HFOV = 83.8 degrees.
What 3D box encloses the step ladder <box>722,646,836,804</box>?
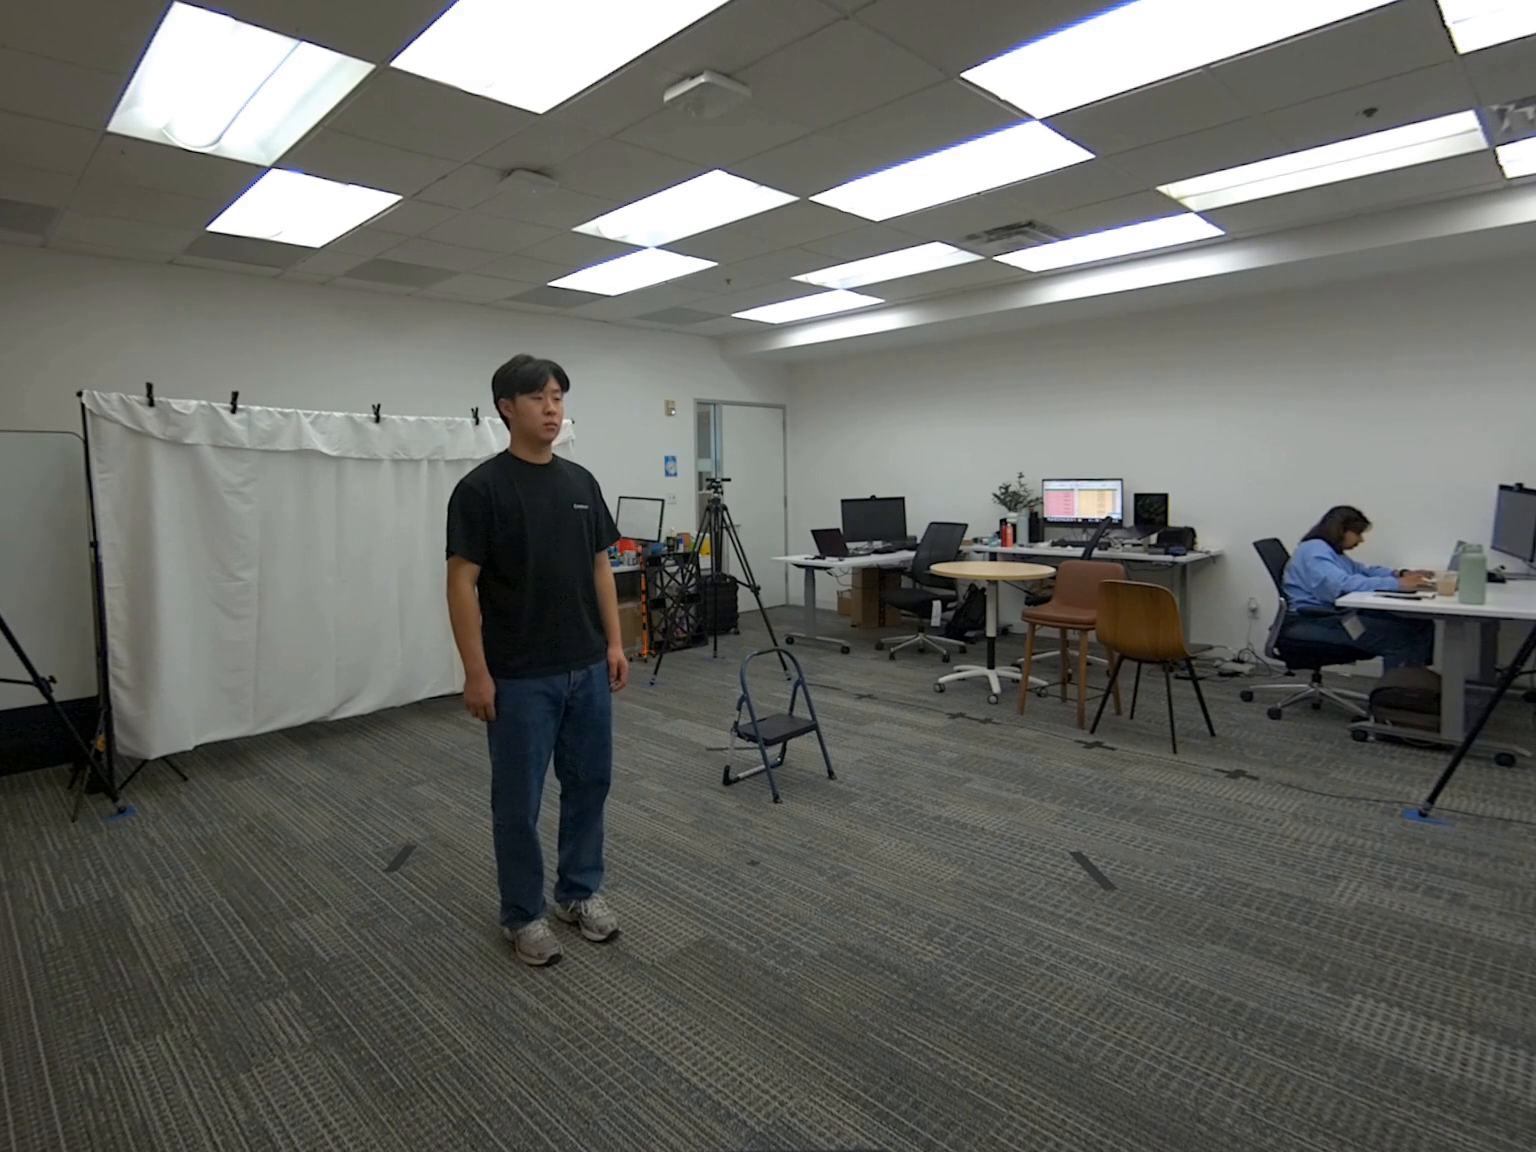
[{"bbox_3d":[0.048,0.645,3.917,0.360,0.604,0.419,3,5,42],"label":"step ladder"}]
